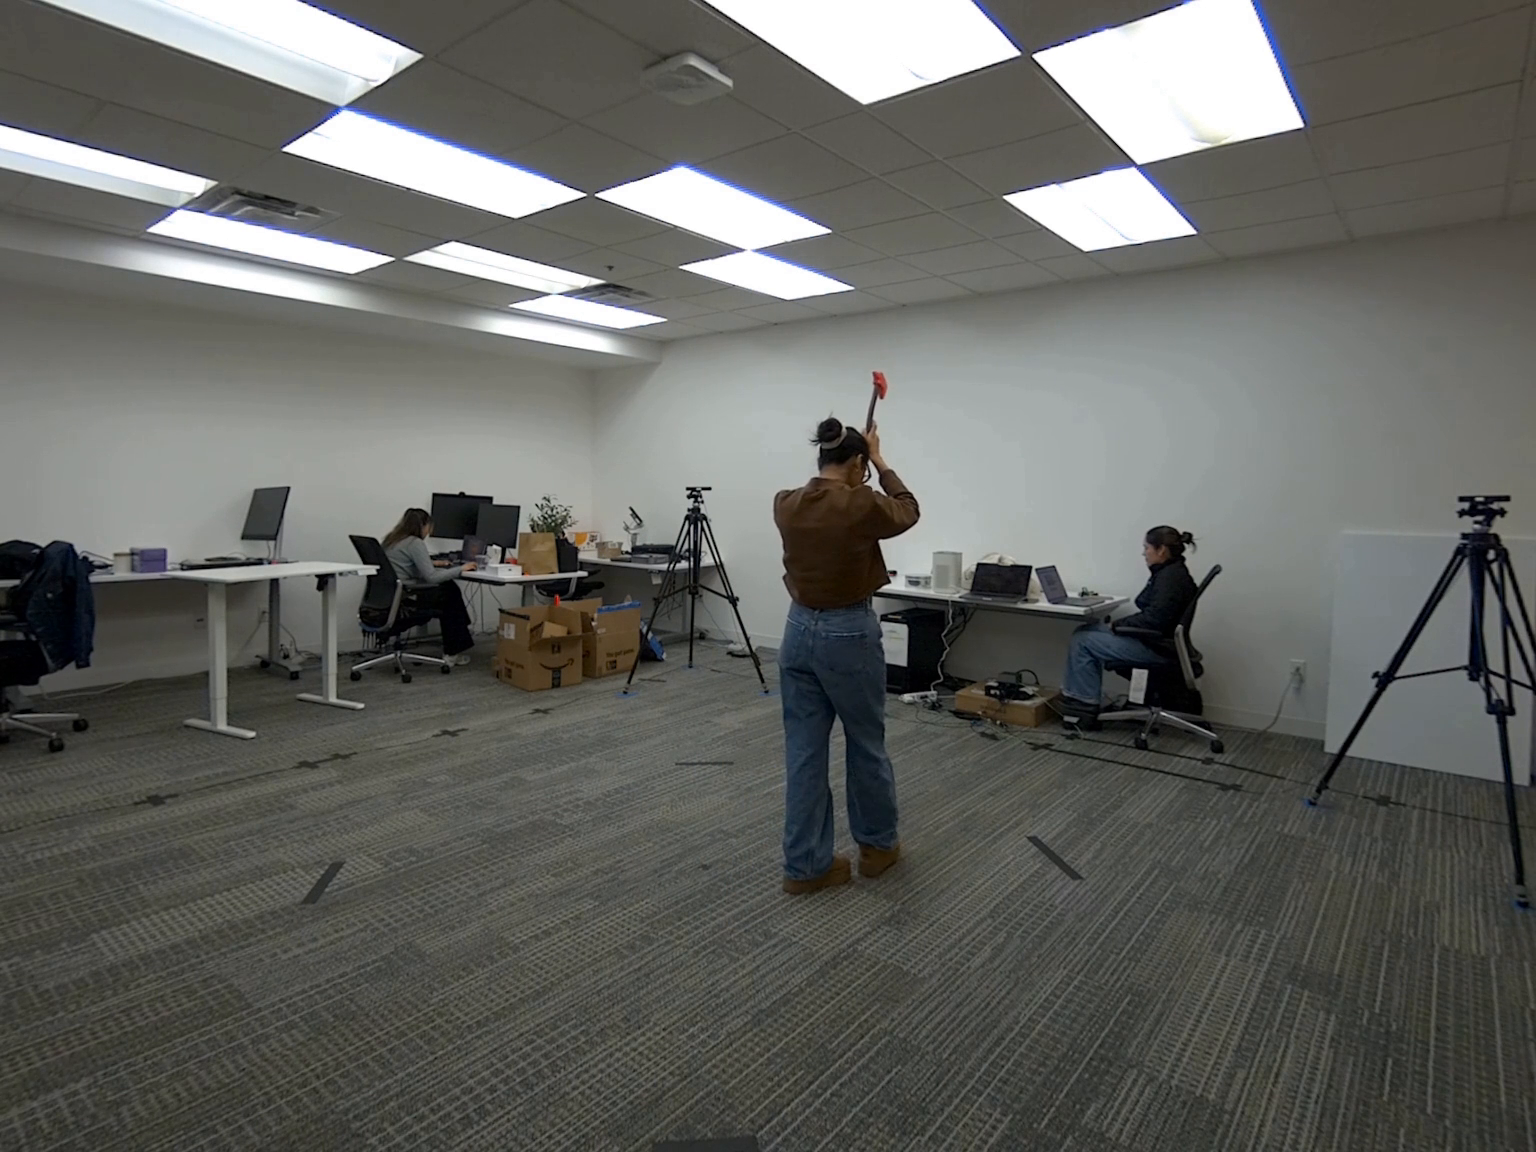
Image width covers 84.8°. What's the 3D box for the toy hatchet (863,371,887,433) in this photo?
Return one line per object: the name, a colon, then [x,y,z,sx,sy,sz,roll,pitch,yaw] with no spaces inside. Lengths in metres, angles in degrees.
toy hatchet: [0.392,-0.630,3.168,0.030,0.270,0.127,7,1,30]
